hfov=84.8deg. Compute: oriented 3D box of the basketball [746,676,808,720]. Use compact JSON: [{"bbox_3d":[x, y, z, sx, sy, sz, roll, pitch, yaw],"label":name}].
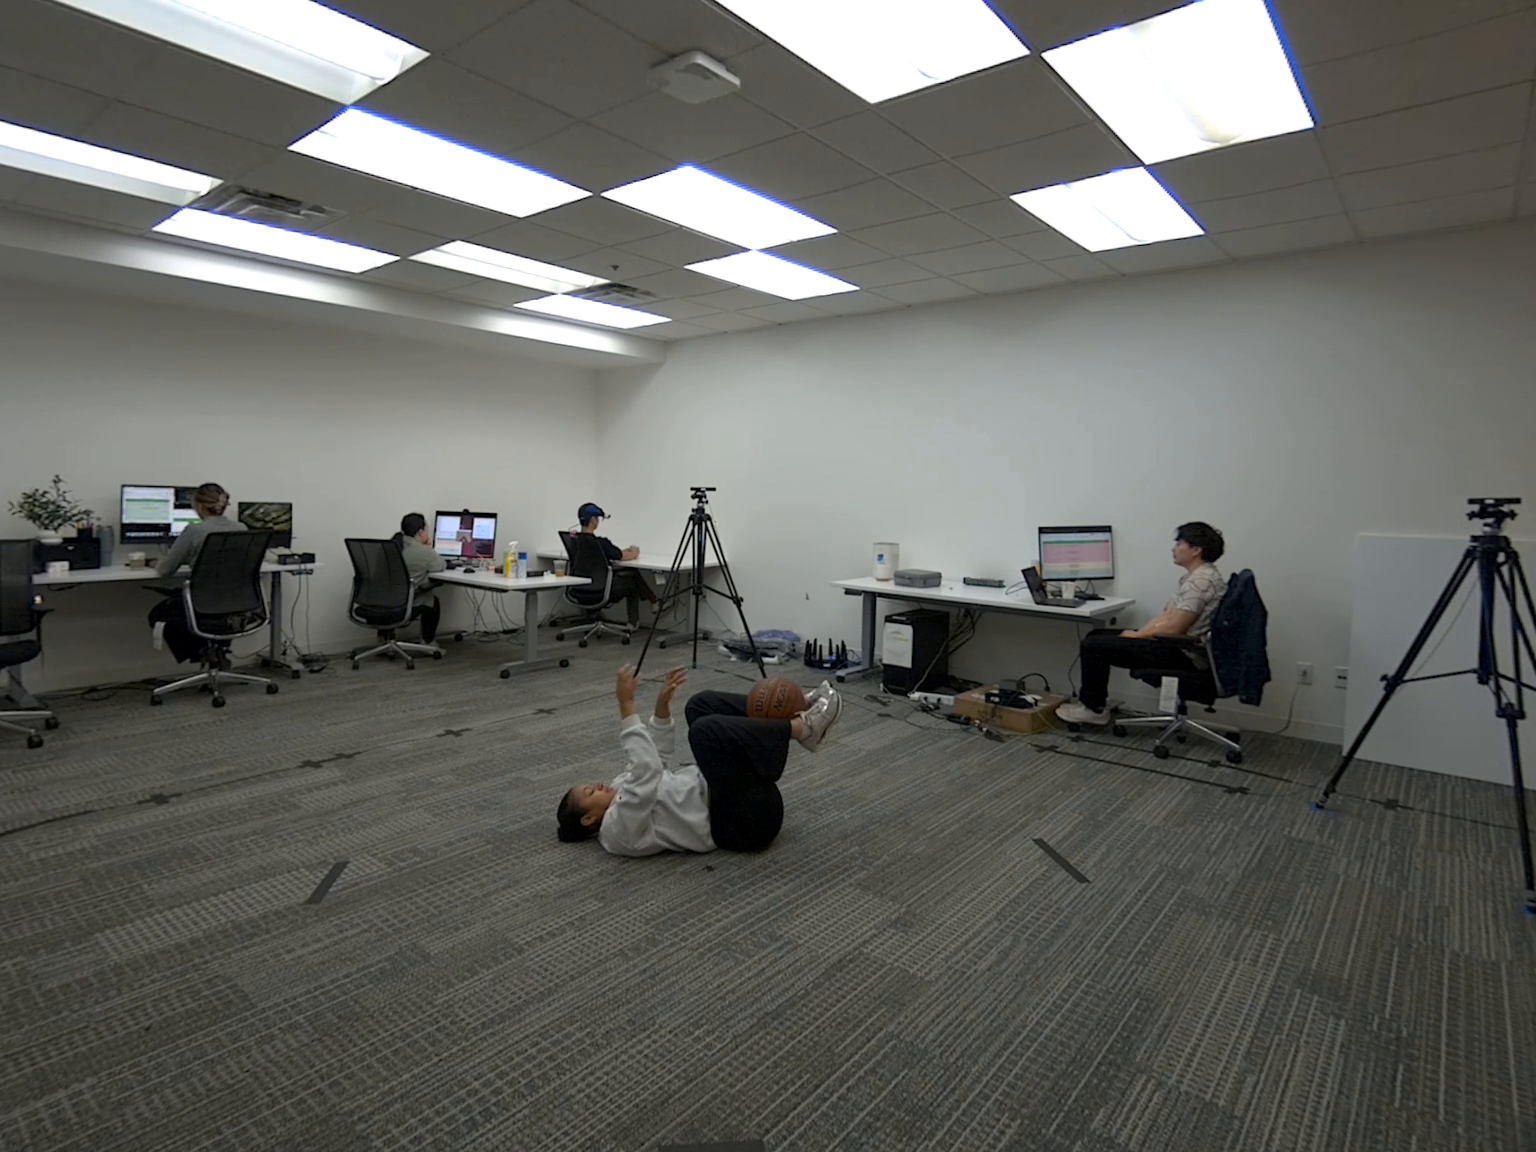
[{"bbox_3d":[0.032,0.513,3.406,0.235,0.235,0.237,1,4,-2],"label":"basketball"}]
